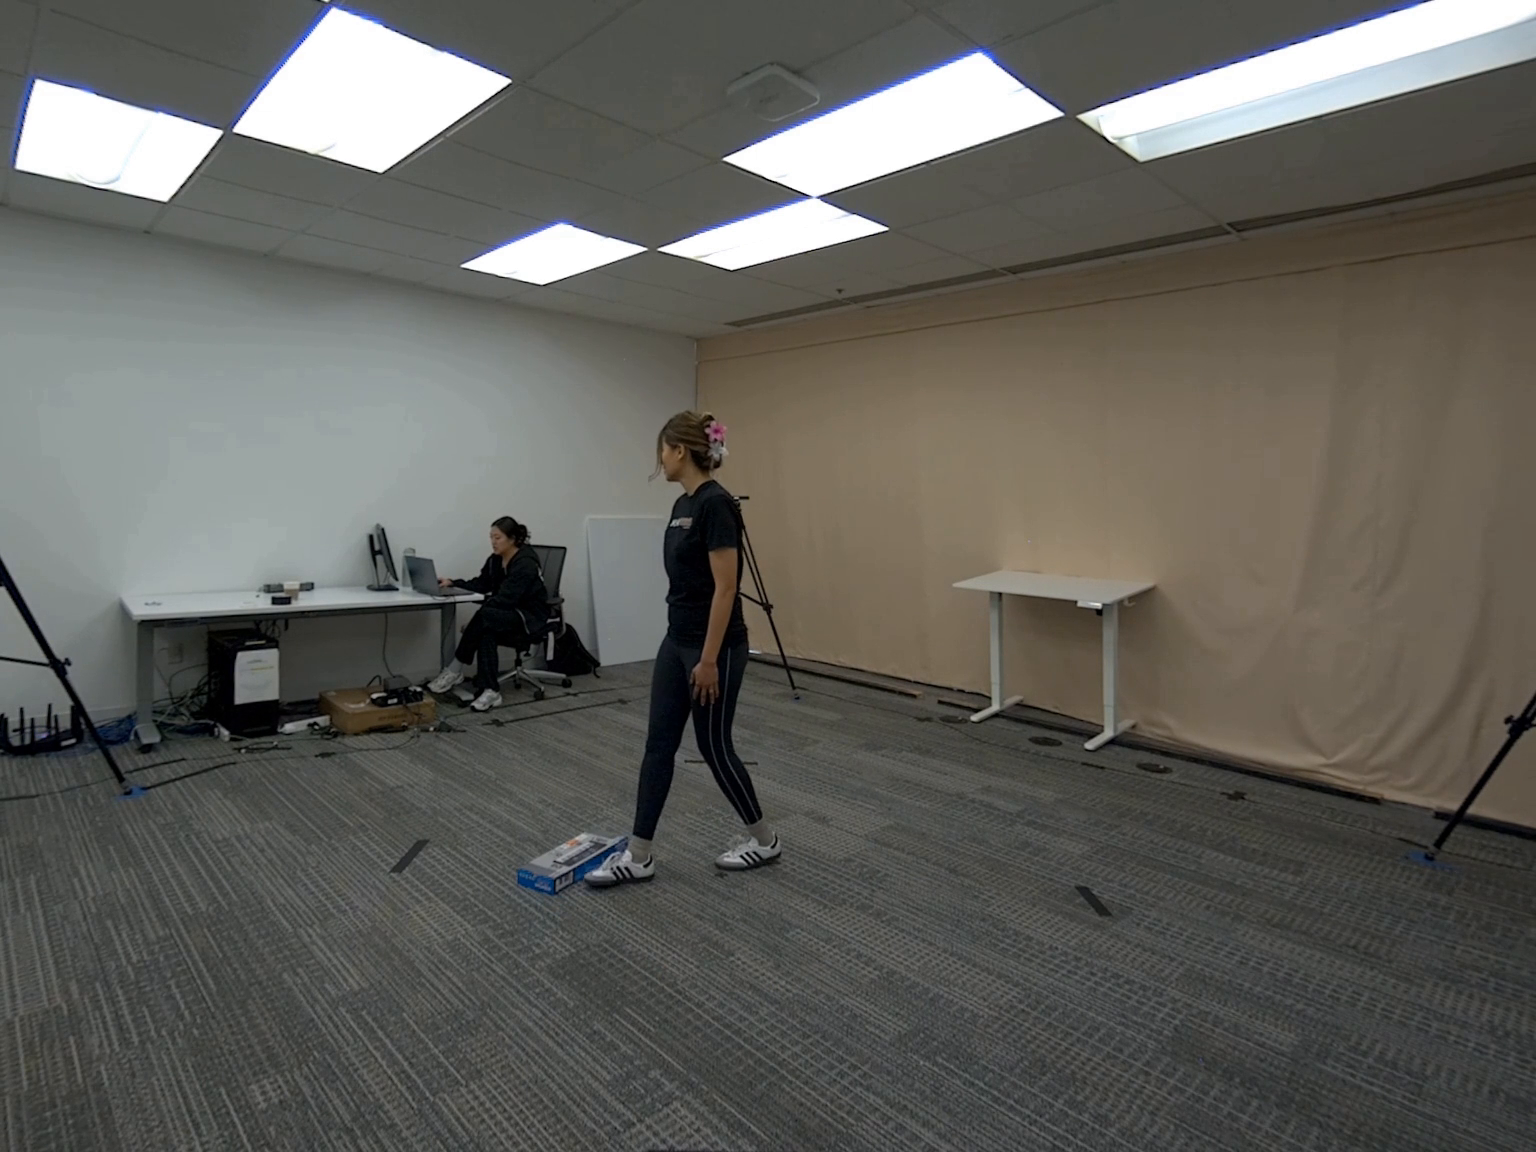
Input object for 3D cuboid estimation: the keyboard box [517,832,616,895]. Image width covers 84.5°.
[{"bbox_3d":[-0.729,1.058,3.142,0.179,0.059,0.429,3,6,28],"label":"keyboard box"}]
